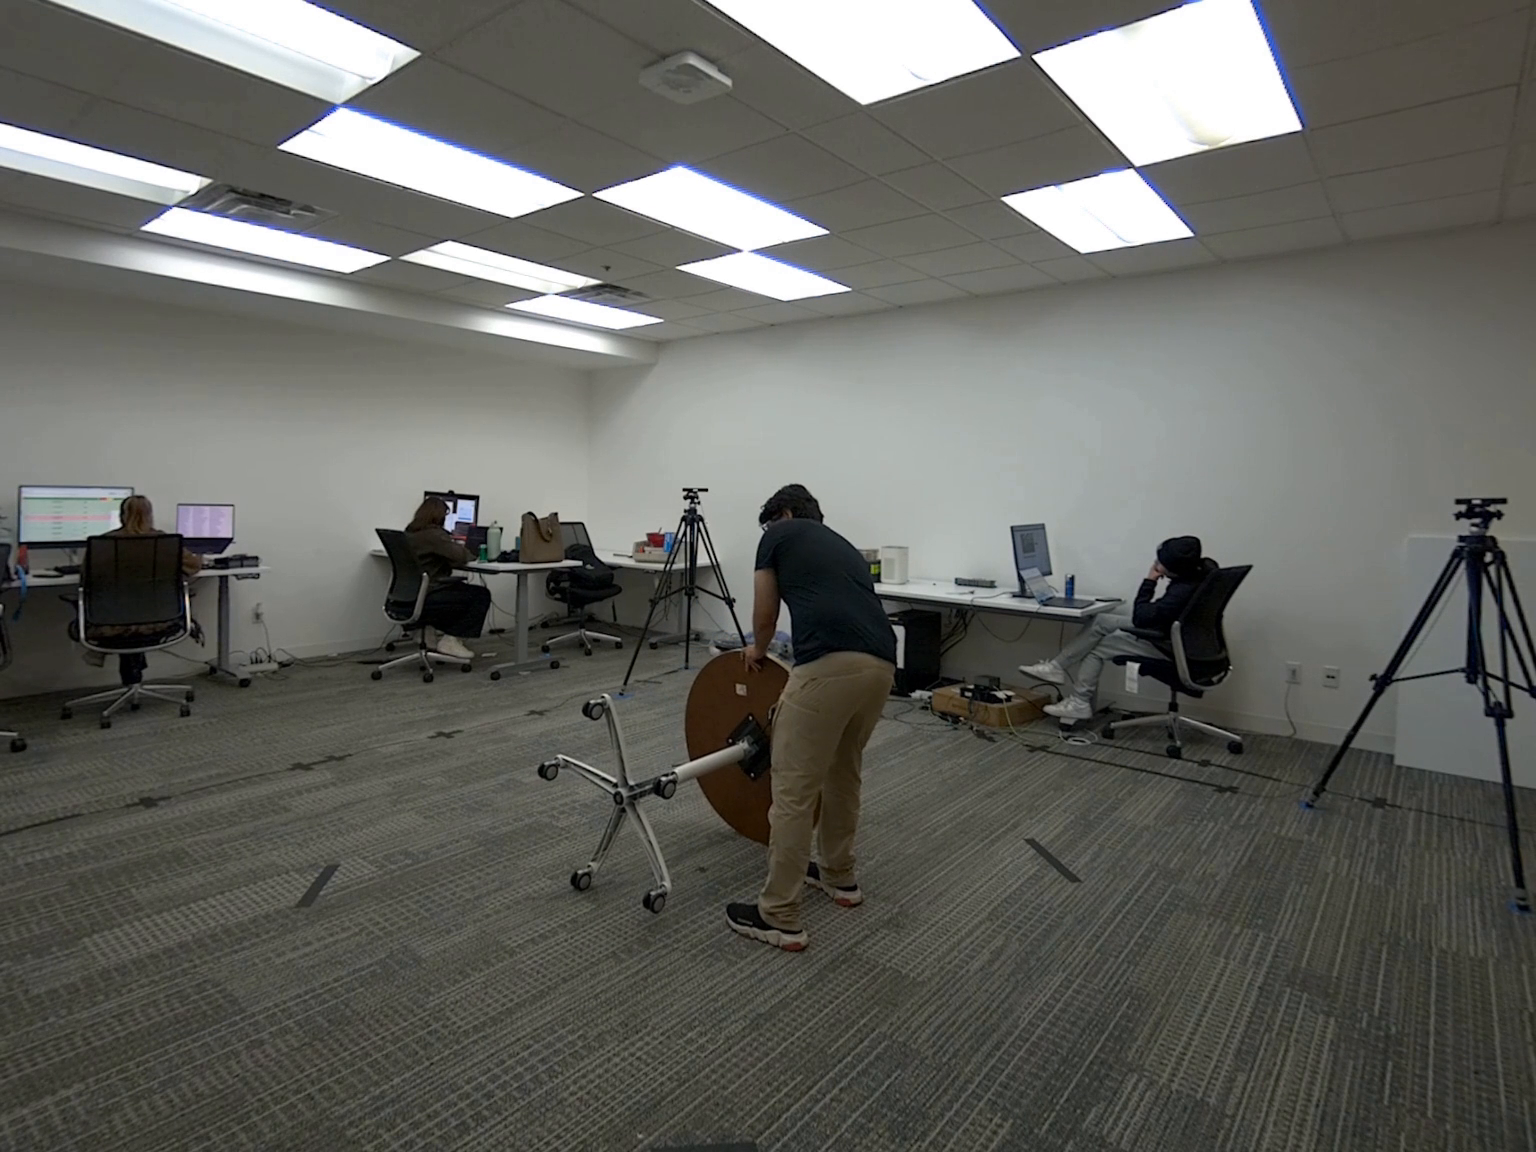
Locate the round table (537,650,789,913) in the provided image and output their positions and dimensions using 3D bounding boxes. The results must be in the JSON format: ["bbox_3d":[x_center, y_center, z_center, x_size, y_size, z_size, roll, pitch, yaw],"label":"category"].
[{"bbox_3d":[-0.315,0.703,3.078,0.812,0.781,0.764,5,8,42],"label":"round table"}]
